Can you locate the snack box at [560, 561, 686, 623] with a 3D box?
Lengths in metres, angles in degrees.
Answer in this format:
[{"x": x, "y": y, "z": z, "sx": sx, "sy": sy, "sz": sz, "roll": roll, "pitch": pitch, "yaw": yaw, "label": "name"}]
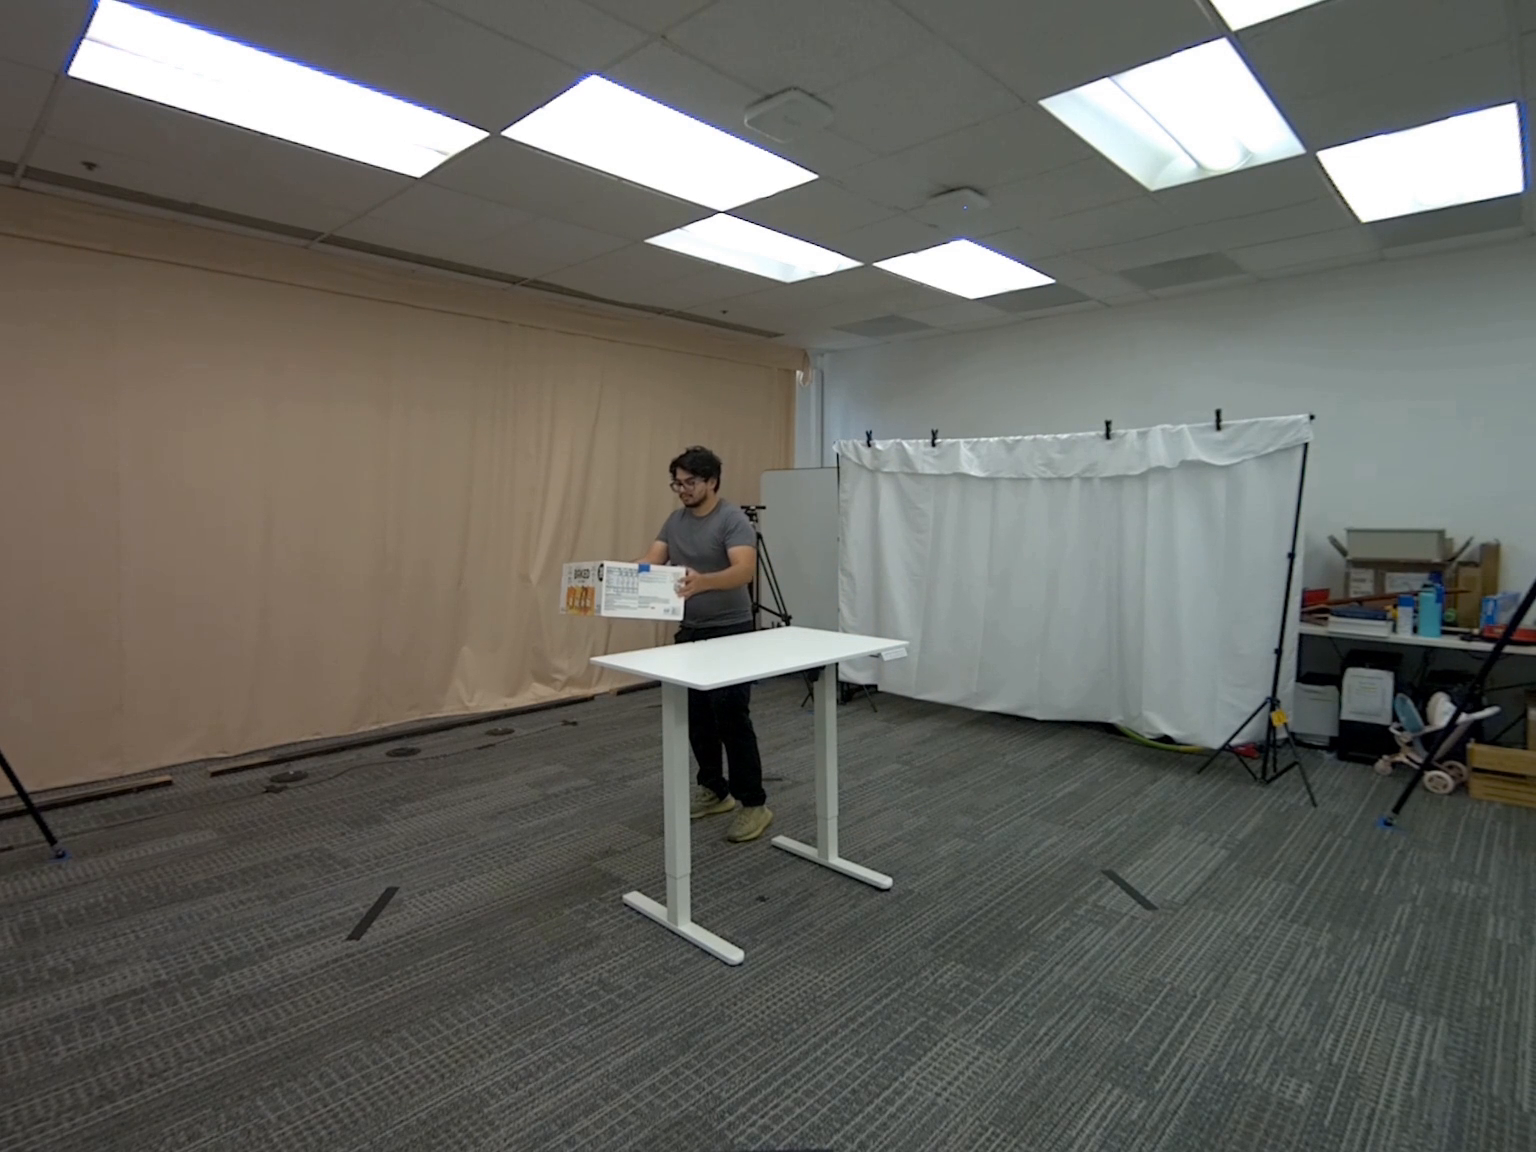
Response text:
[{"x": -0.567, "y": 0.066, "z": 3.274, "sx": 0.330, "sy": 0.206, "sz": 0.417, "roll": 5, "pitch": -3, "yaw": -33, "label": "snack box"}]
